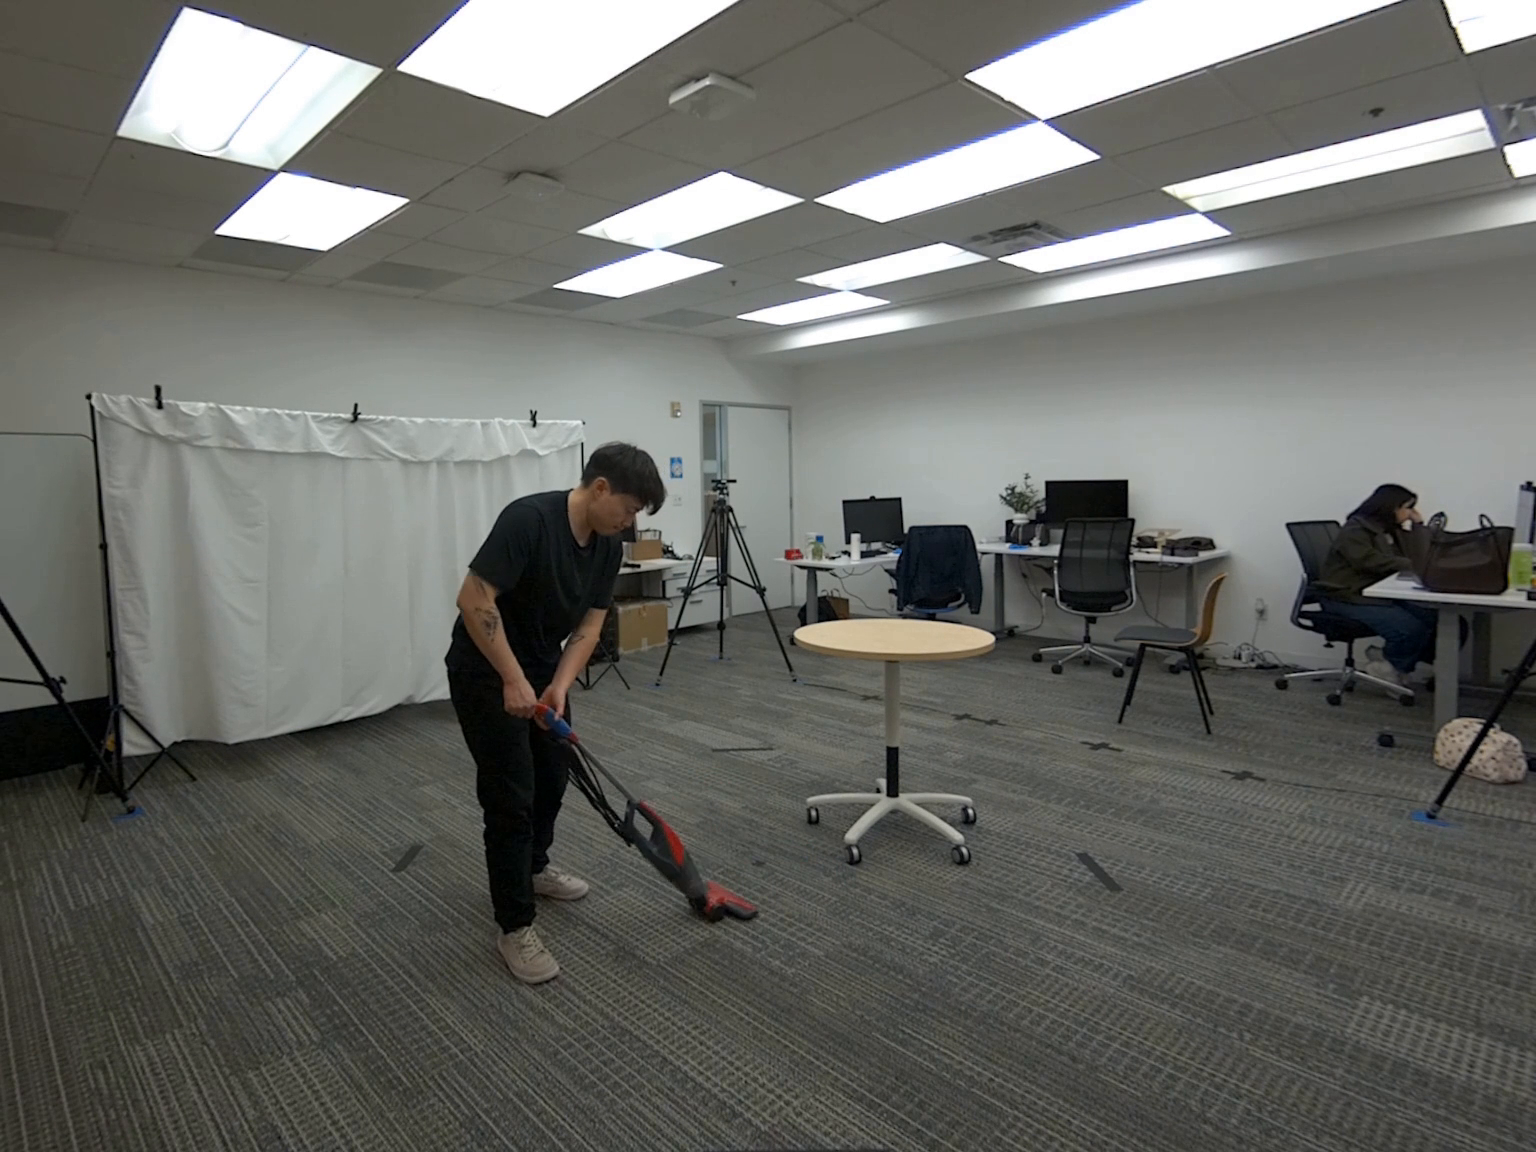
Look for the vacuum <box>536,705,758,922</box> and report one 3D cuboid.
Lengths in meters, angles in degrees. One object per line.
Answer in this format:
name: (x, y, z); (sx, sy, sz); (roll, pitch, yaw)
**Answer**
vacuum: (-0.412, 0.720, 2.573); (0.260, 1.016, 0.144); (5, 51, 53)
